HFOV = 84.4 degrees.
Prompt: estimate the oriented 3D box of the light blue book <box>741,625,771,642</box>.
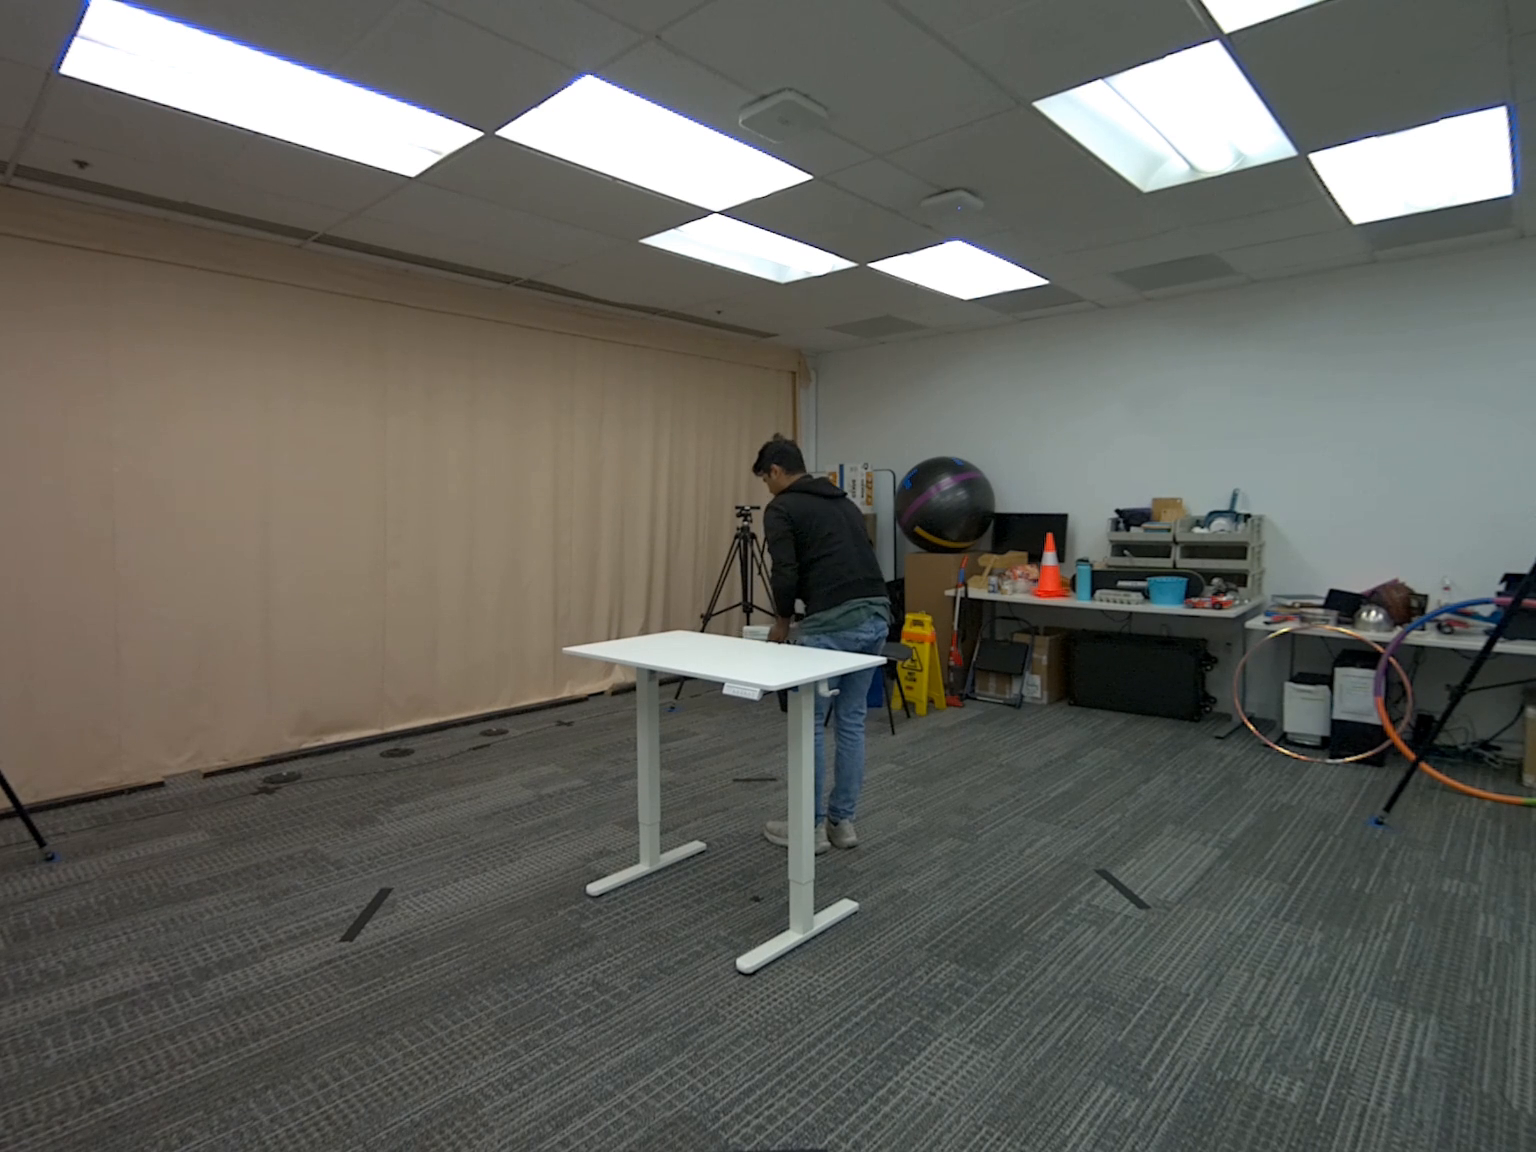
[{"bbox_3d":[0.026,0.262,3.743,0.186,0.059,0.269,-2,1,-35],"label":"light blue book"}]
